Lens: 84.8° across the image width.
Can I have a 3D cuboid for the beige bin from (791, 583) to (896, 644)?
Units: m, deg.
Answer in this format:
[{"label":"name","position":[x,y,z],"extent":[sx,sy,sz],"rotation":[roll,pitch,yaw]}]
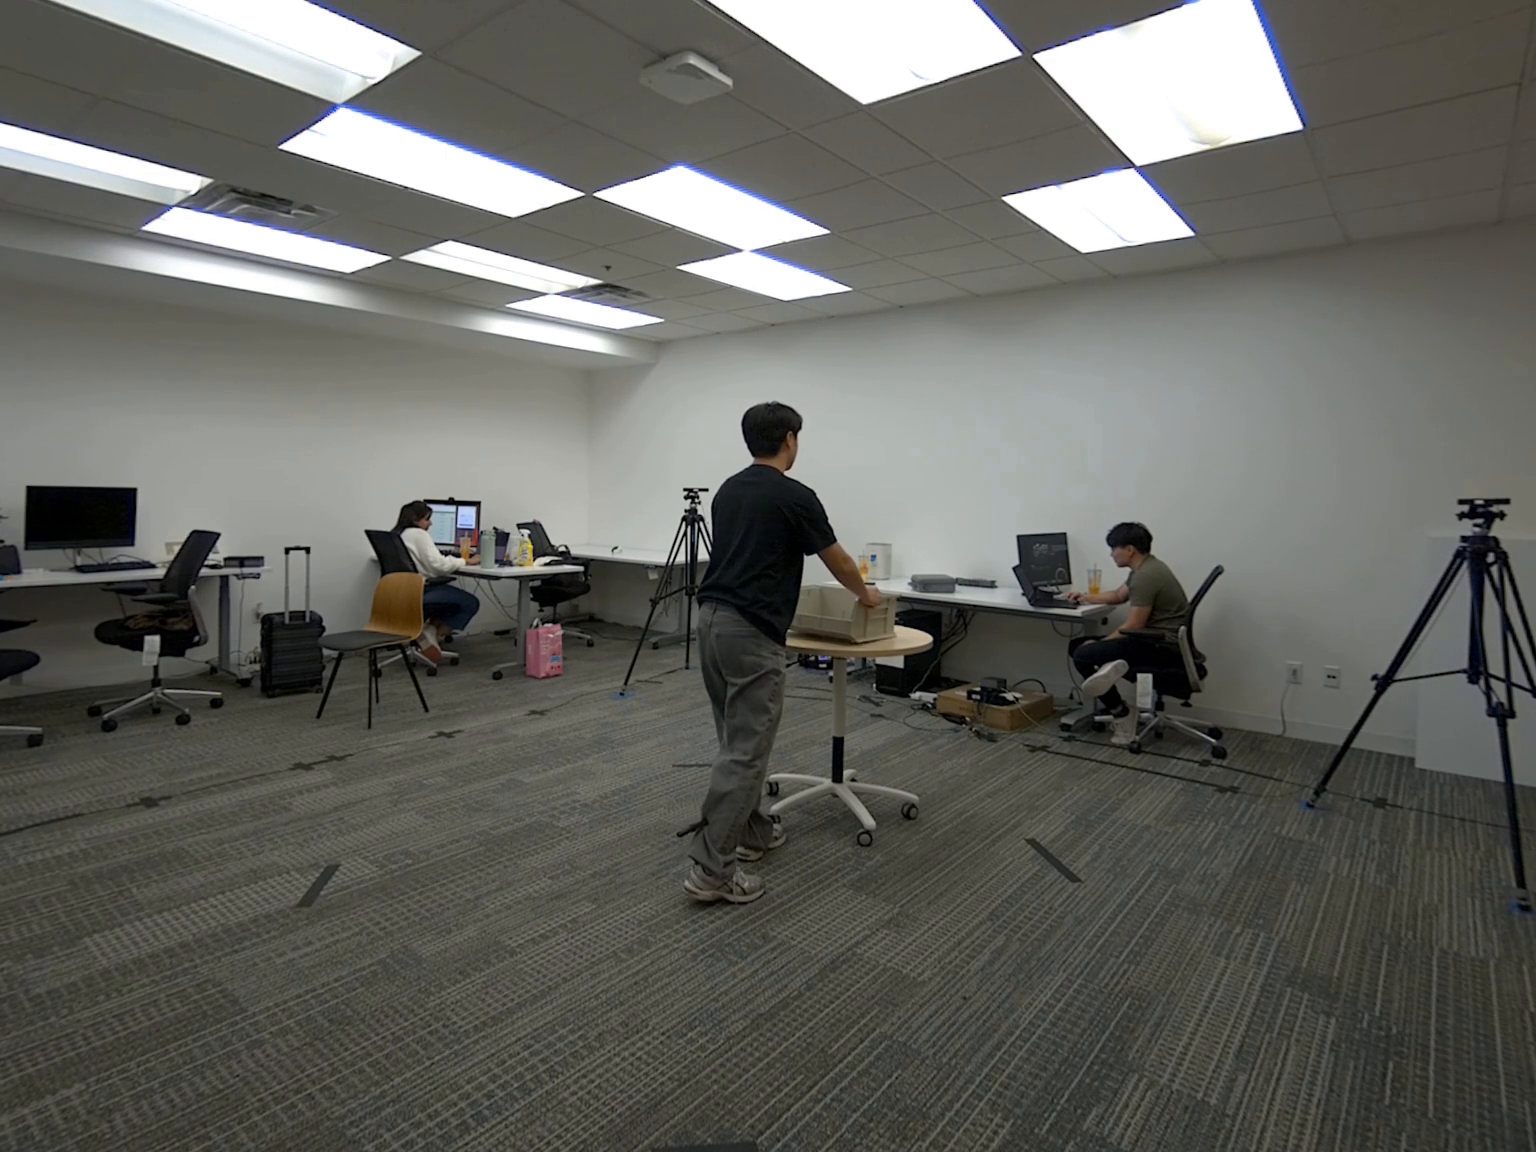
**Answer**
[{"label":"beige bin","position":[0.275,0.143,3.592],"extent":[0.436,0.188,0.366],"rotation":[6,5,39]}]
